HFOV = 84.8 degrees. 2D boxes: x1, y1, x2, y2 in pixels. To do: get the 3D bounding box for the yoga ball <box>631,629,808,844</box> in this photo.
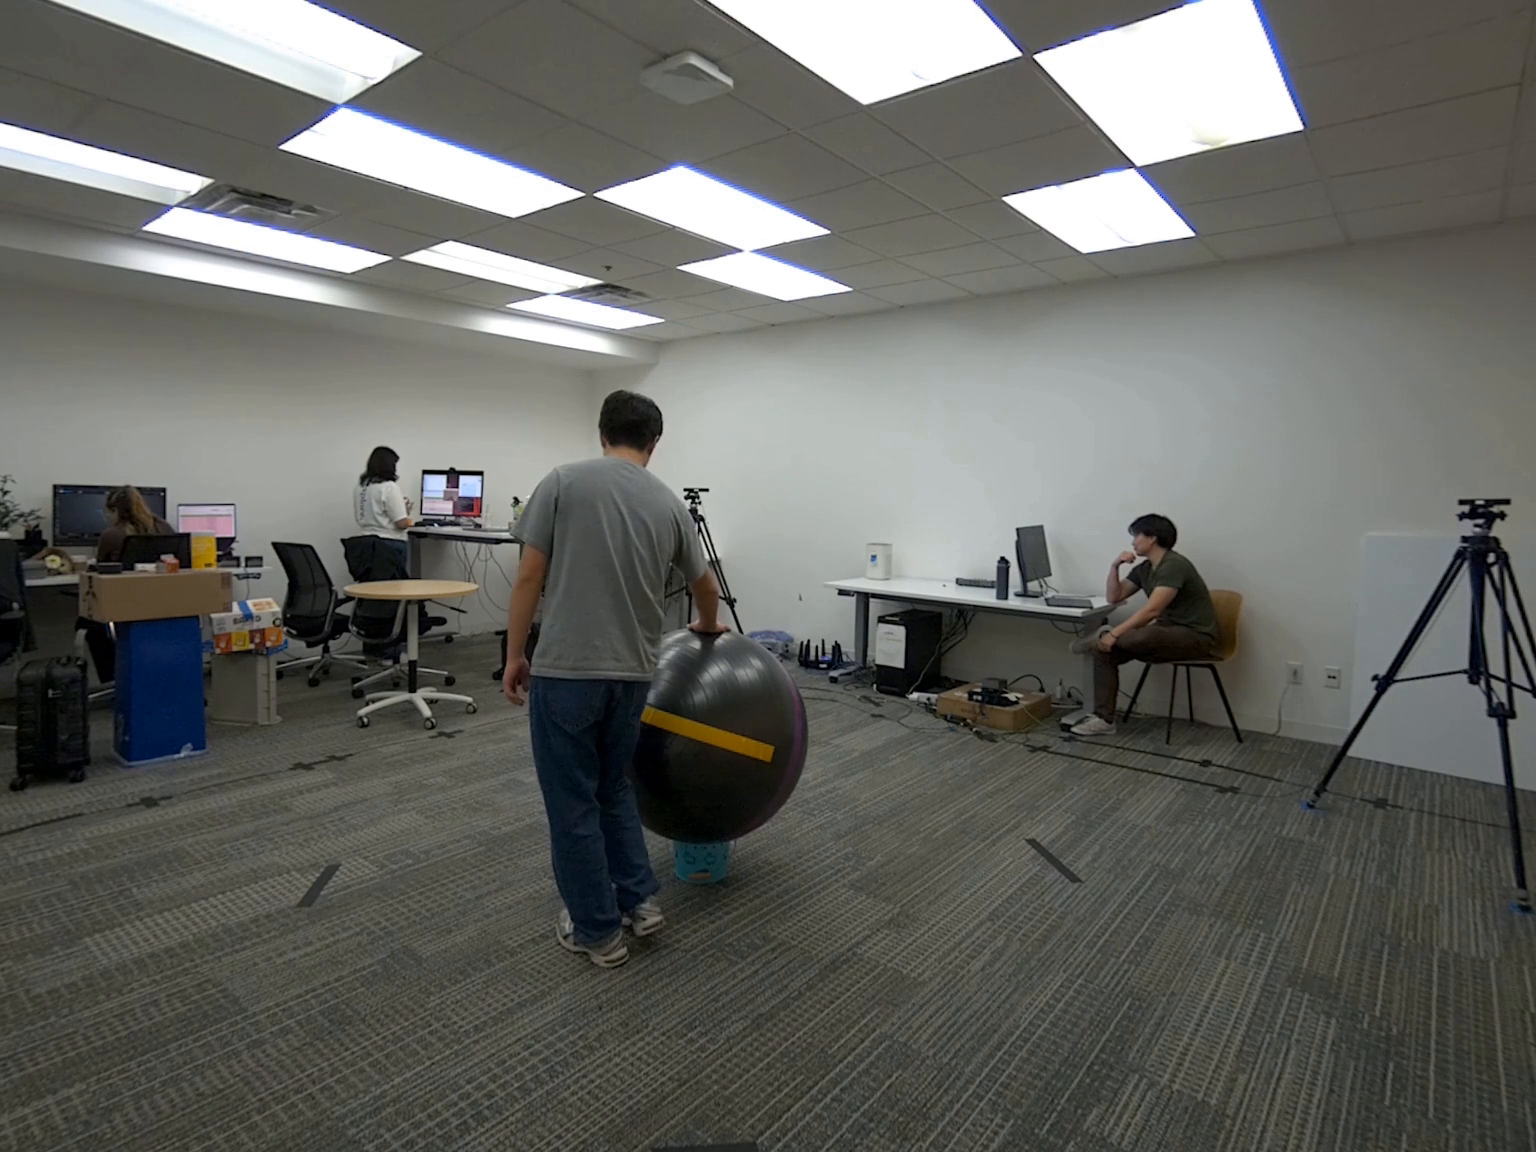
[{"bbox_3d":[-0.244,0.563,3.064,0.757,0.755,0.762,1,4,-2],"label":"yoga ball"}]
